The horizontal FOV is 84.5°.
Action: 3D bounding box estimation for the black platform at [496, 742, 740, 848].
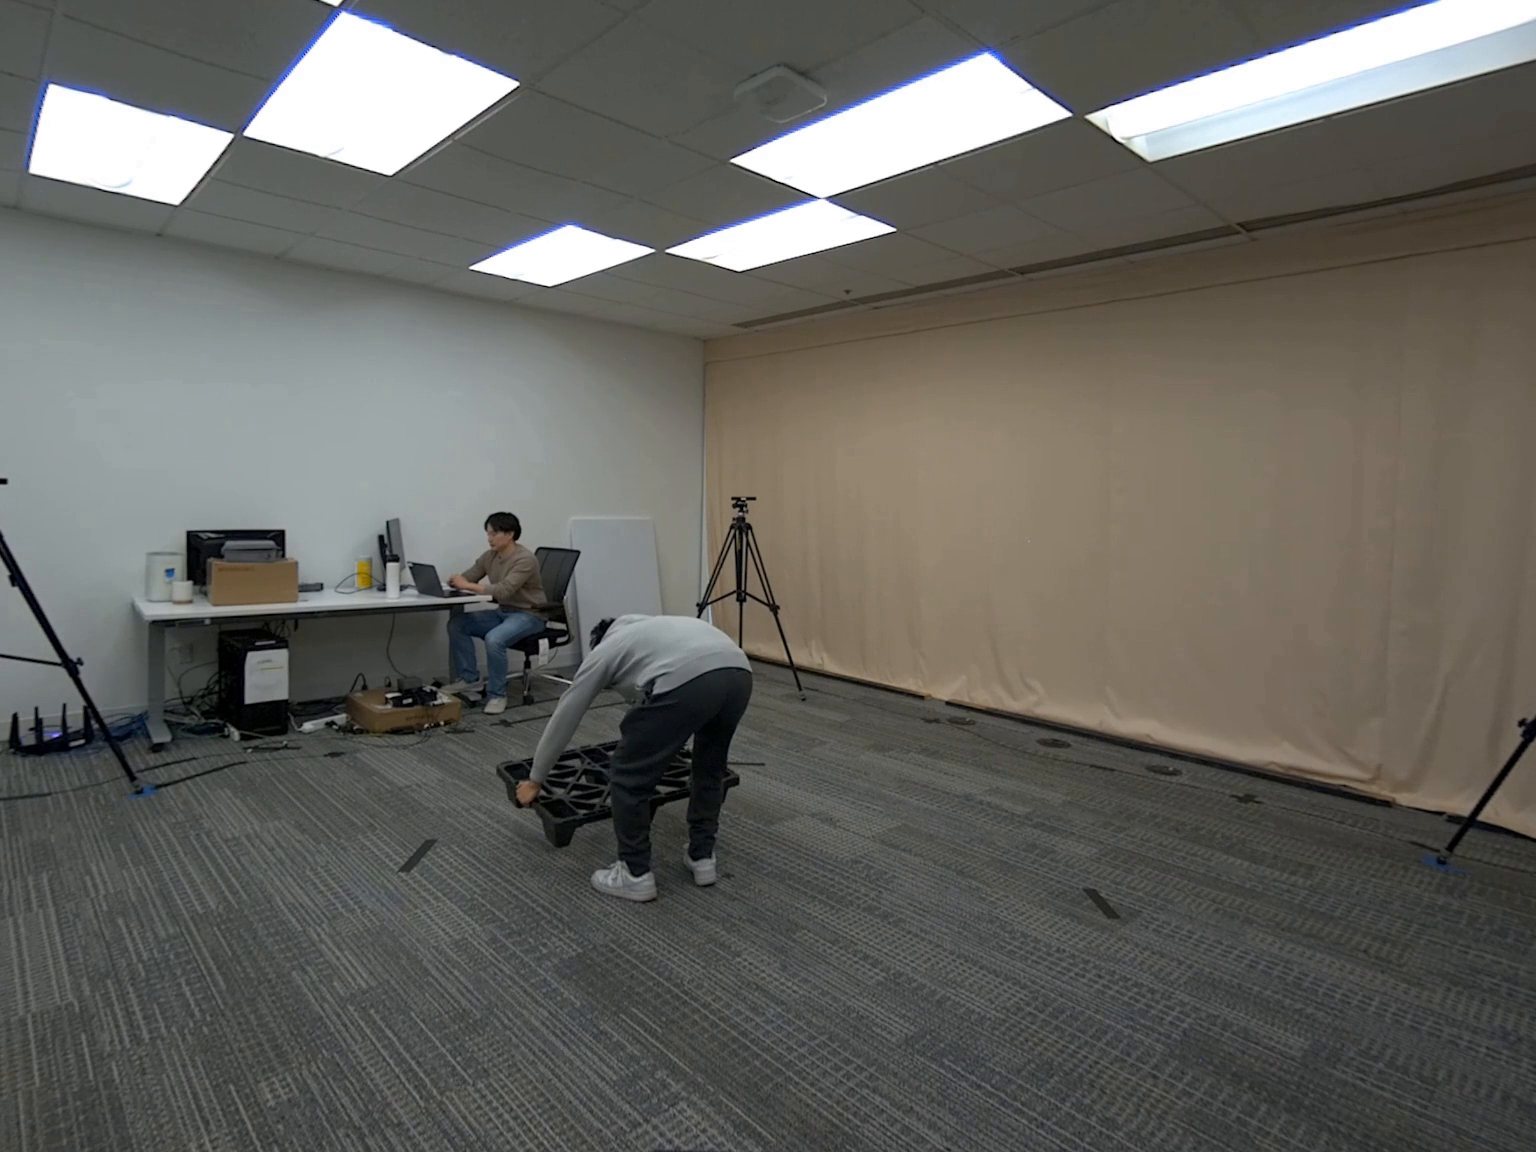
[{"bbox_3d":[-0.609,0.849,3.391,0.789,0.142,0.622,-5,13,-36],"label":"black platform"}]
